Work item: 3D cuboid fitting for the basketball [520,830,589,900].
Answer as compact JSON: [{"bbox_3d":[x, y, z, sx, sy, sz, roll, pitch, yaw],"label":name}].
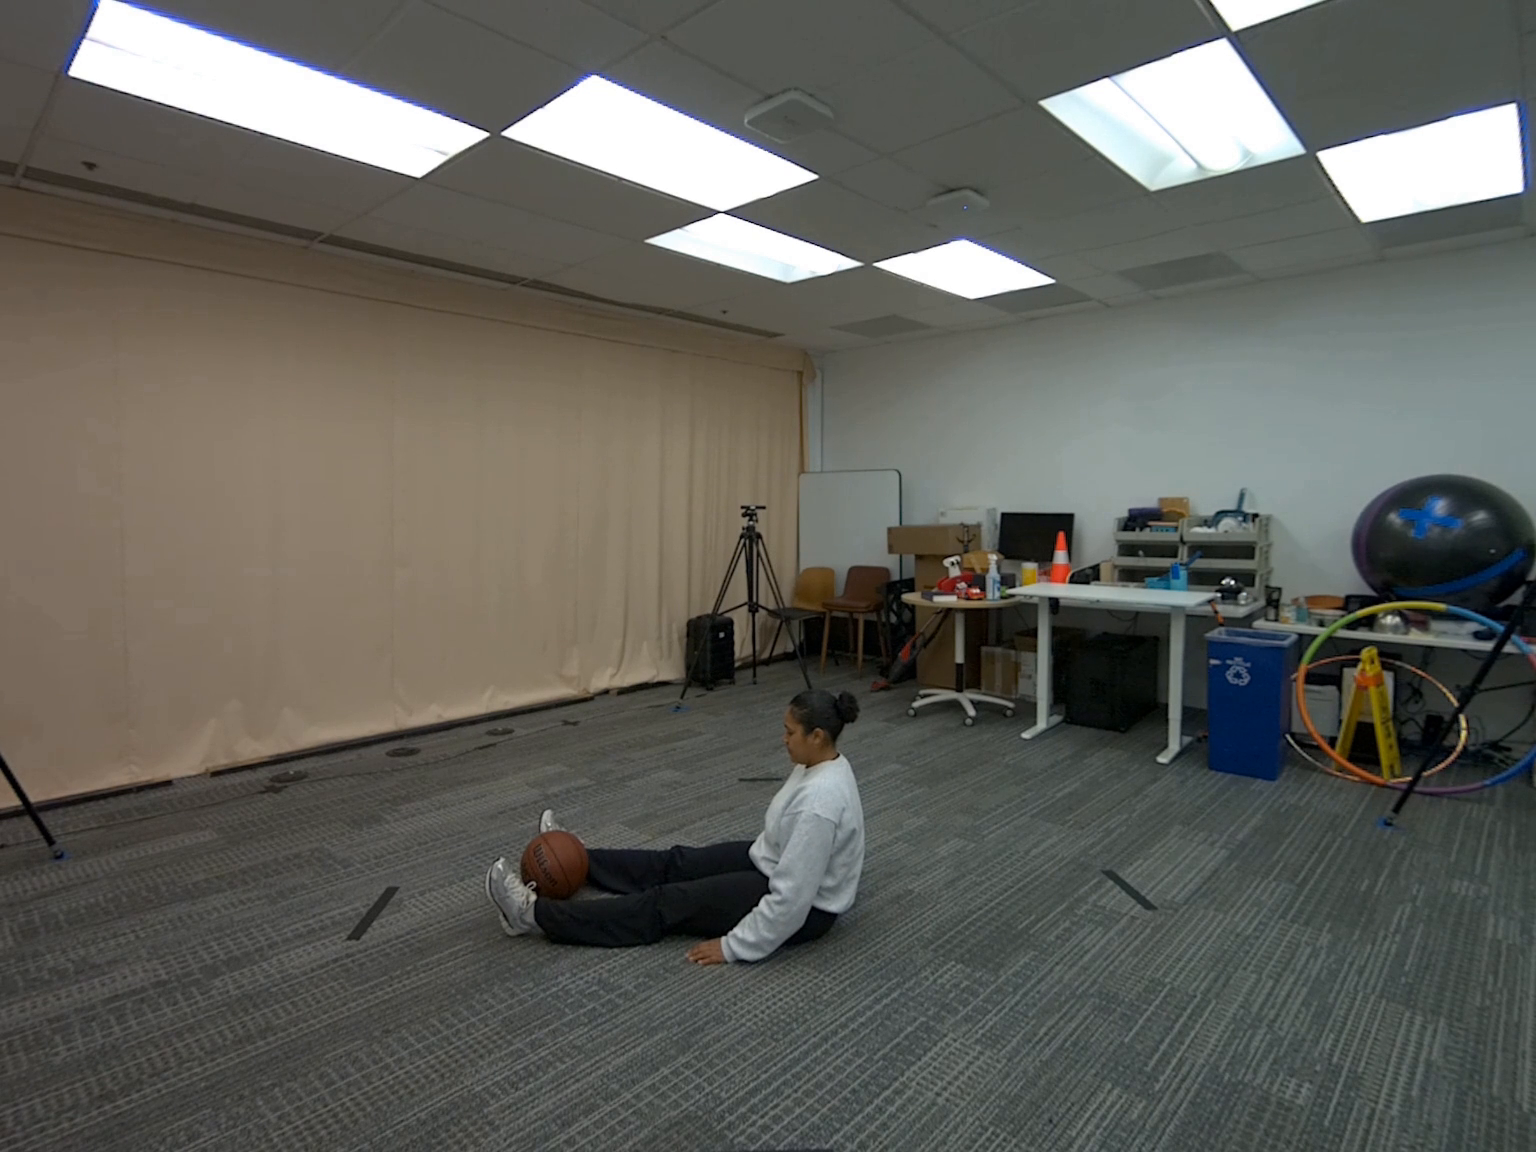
[{"bbox_3d":[-0.762,1.038,2.991,0.236,0.235,0.237,0,4,-2],"label":"basketball"}]
